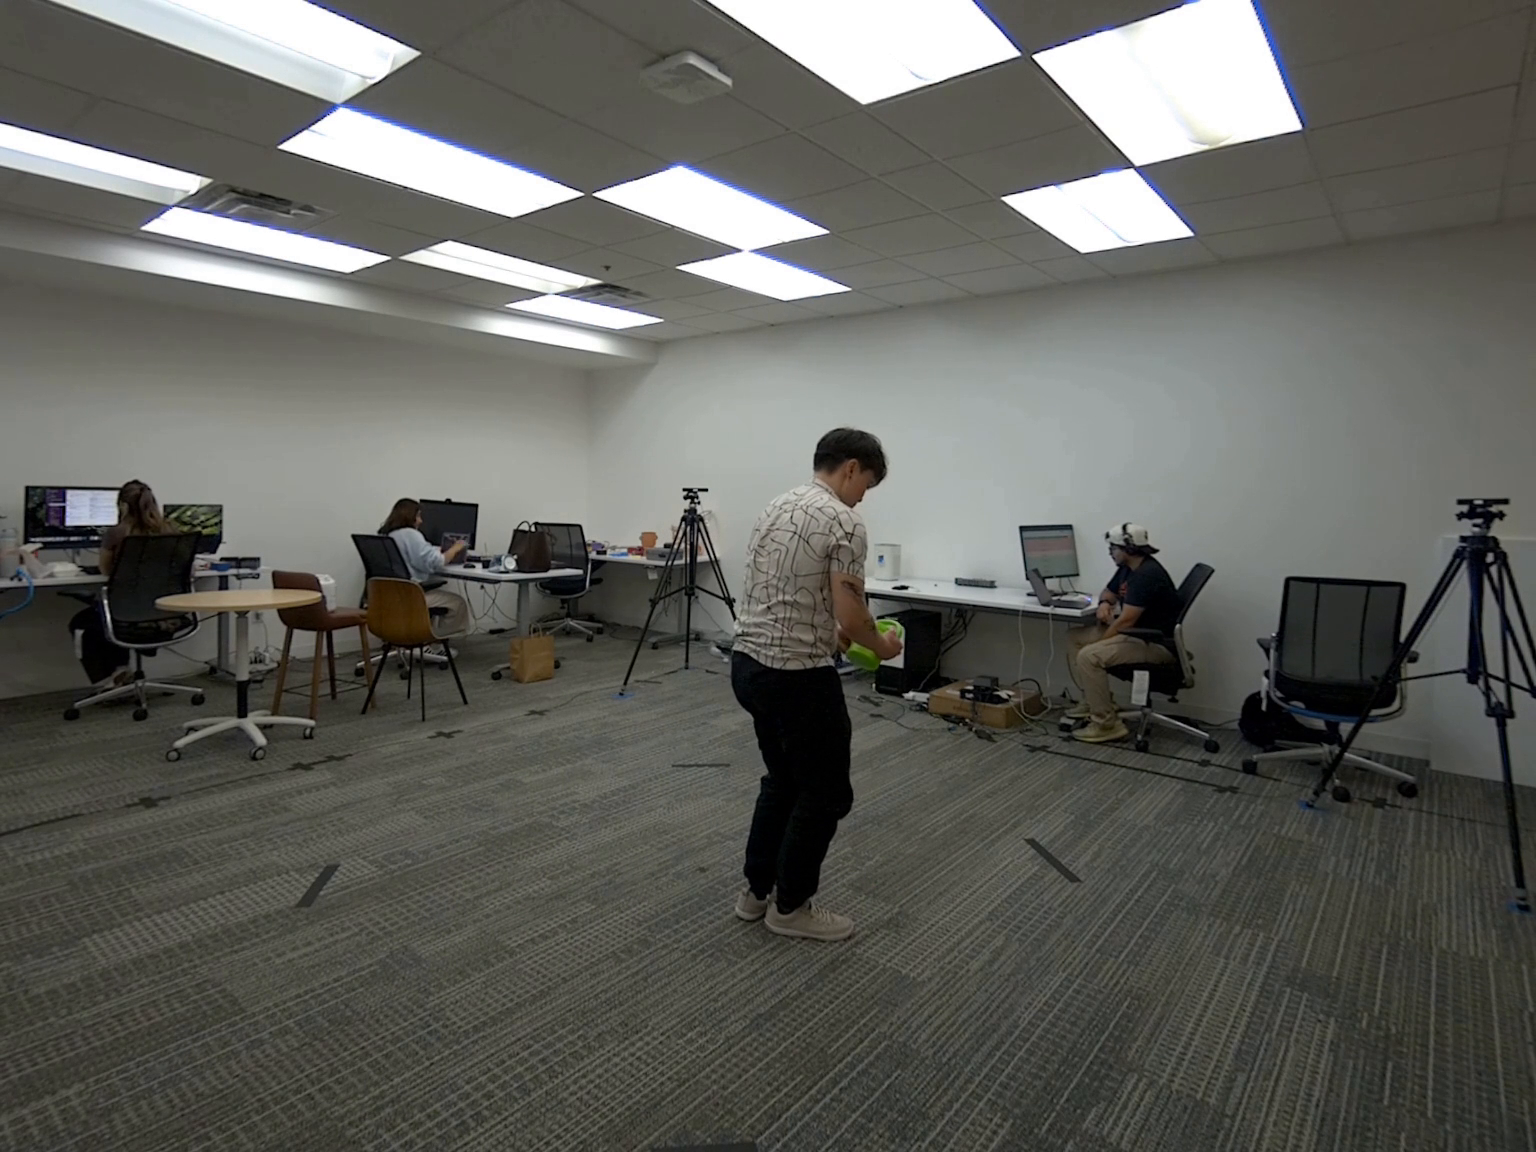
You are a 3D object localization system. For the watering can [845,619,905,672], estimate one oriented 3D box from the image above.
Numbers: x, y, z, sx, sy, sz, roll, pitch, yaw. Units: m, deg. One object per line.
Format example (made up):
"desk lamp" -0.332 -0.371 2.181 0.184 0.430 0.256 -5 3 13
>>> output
"watering can" 0.328 0.228 2.838 0.097 0.177 0.282 44 -23 -11
